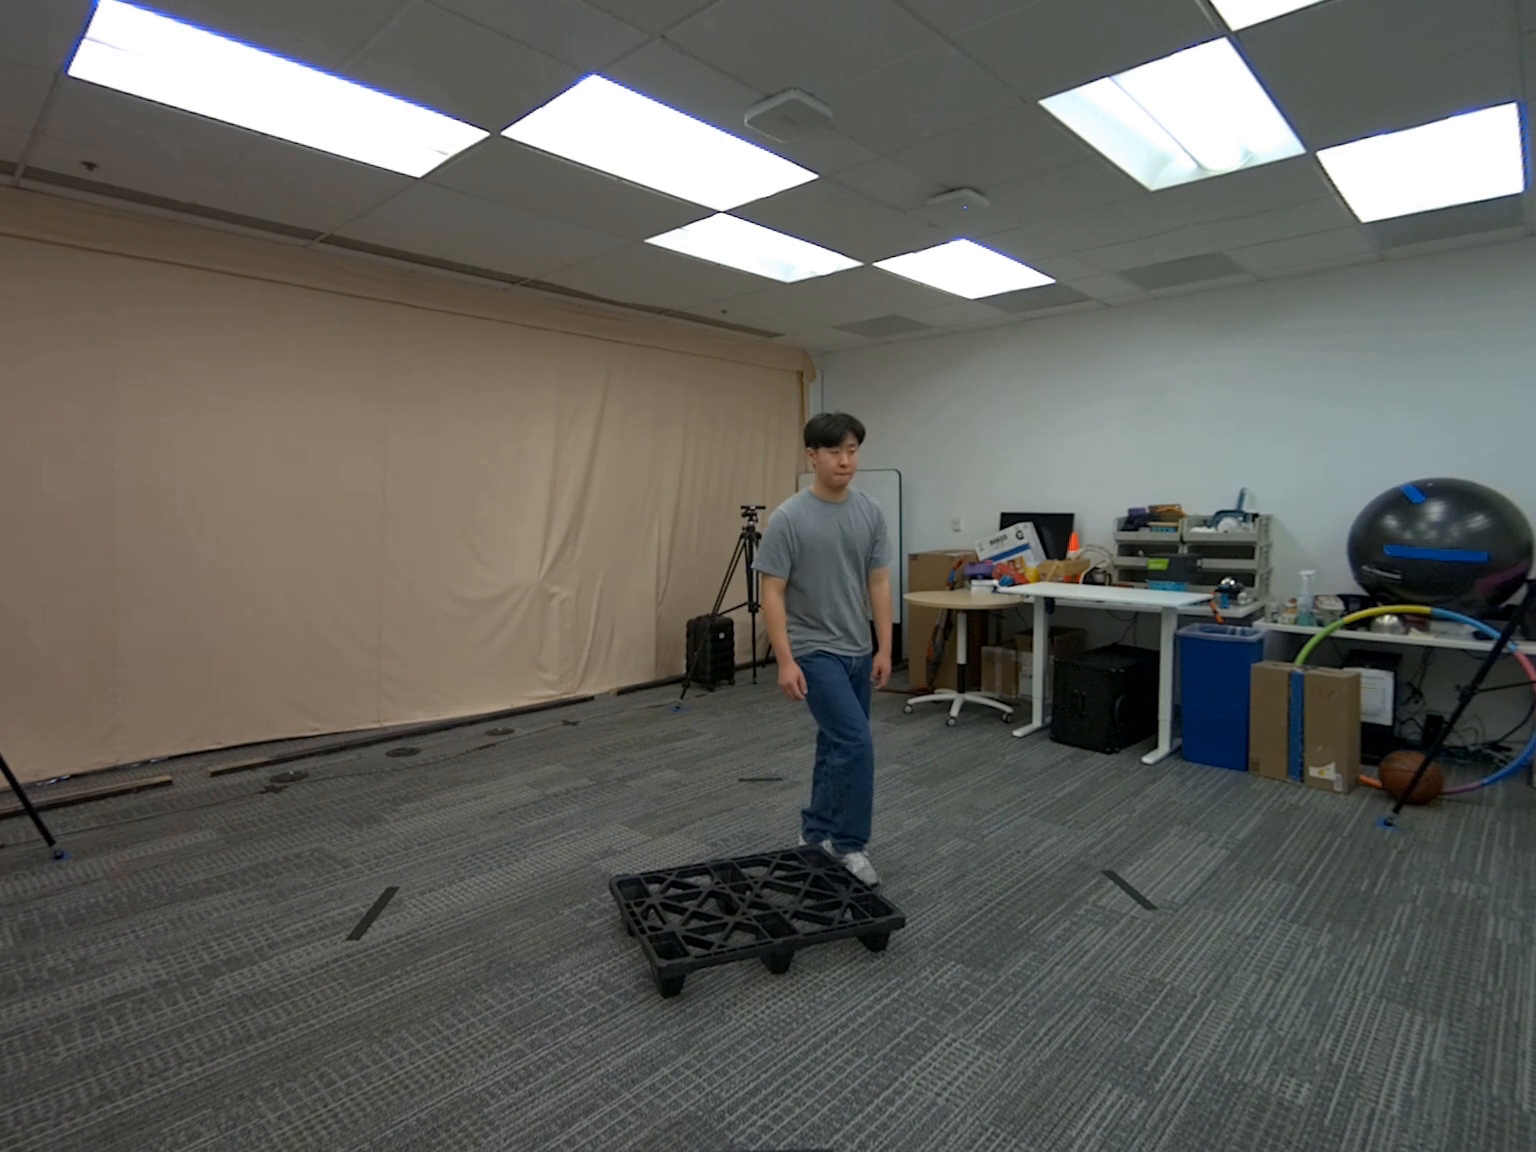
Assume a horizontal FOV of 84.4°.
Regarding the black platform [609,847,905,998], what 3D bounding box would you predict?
[{"bbox_3d":[-0.061,1.100,2.719,0.789,0.143,0.619,-2,5,-22],"label":"black platform"}]
